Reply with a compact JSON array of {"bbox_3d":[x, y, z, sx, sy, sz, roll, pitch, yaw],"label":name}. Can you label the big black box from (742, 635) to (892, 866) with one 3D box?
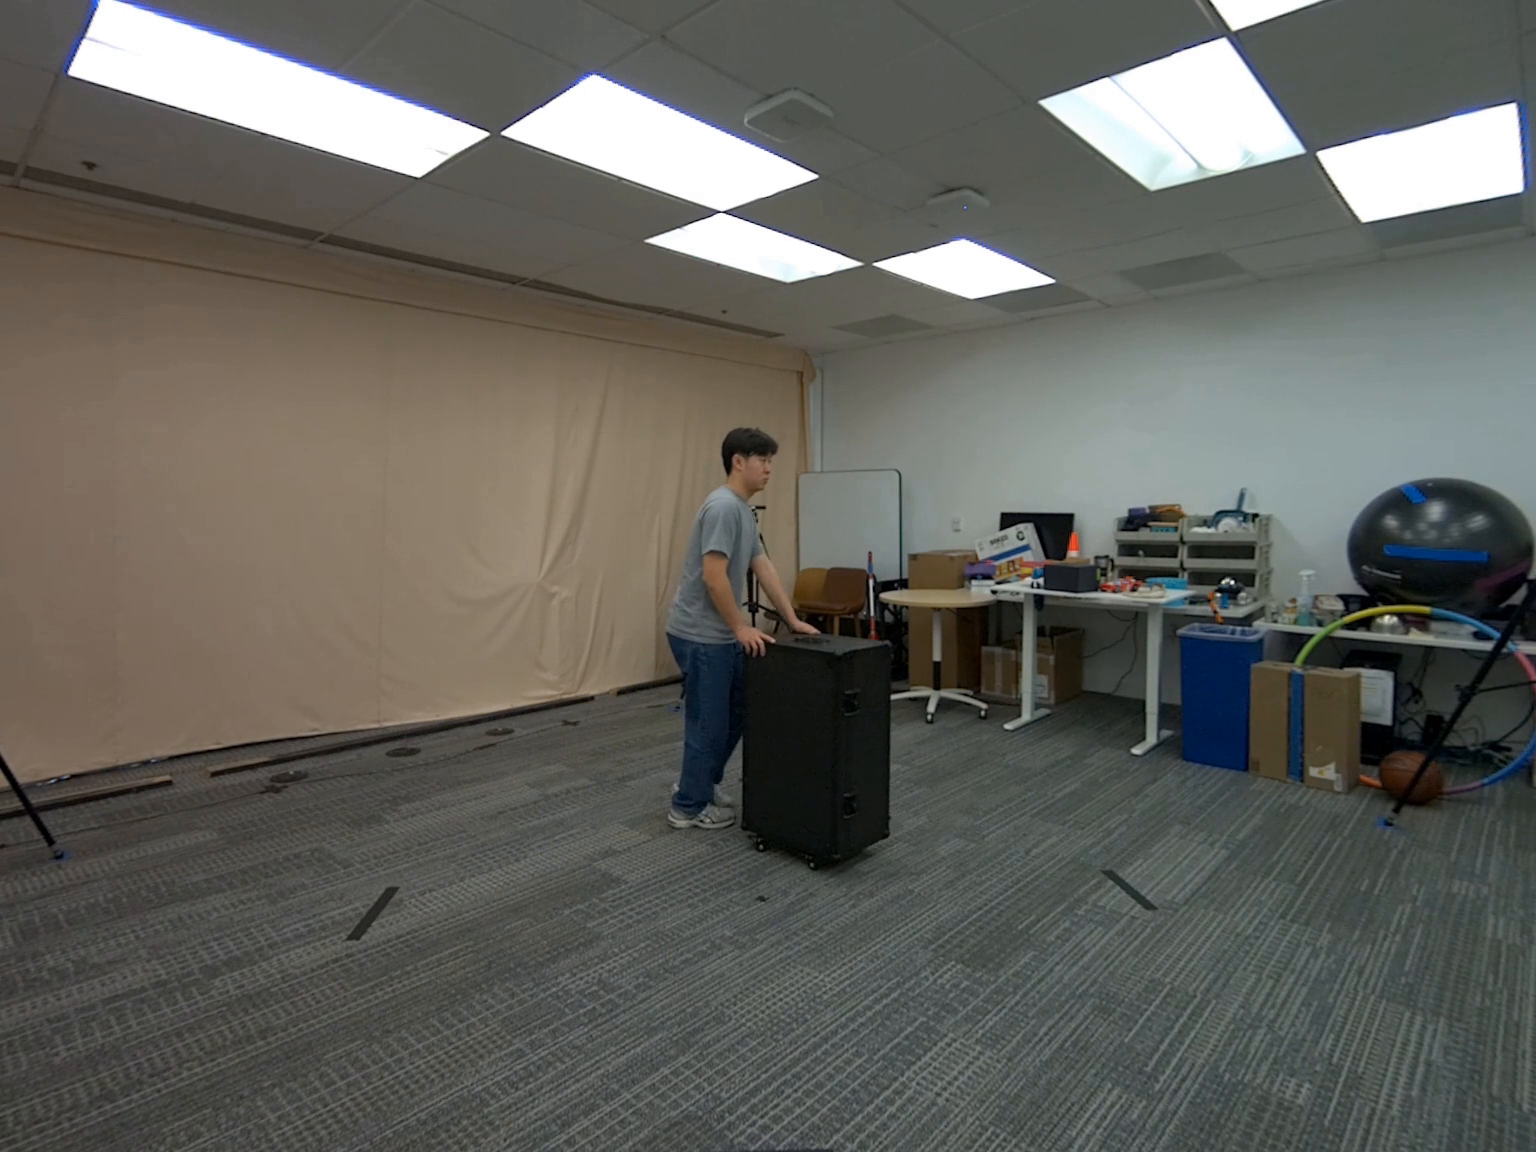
[{"bbox_3d":[0.198,0.685,3.392,0.538,0.860,0.384,3,3,42],"label":"big black box"}]
